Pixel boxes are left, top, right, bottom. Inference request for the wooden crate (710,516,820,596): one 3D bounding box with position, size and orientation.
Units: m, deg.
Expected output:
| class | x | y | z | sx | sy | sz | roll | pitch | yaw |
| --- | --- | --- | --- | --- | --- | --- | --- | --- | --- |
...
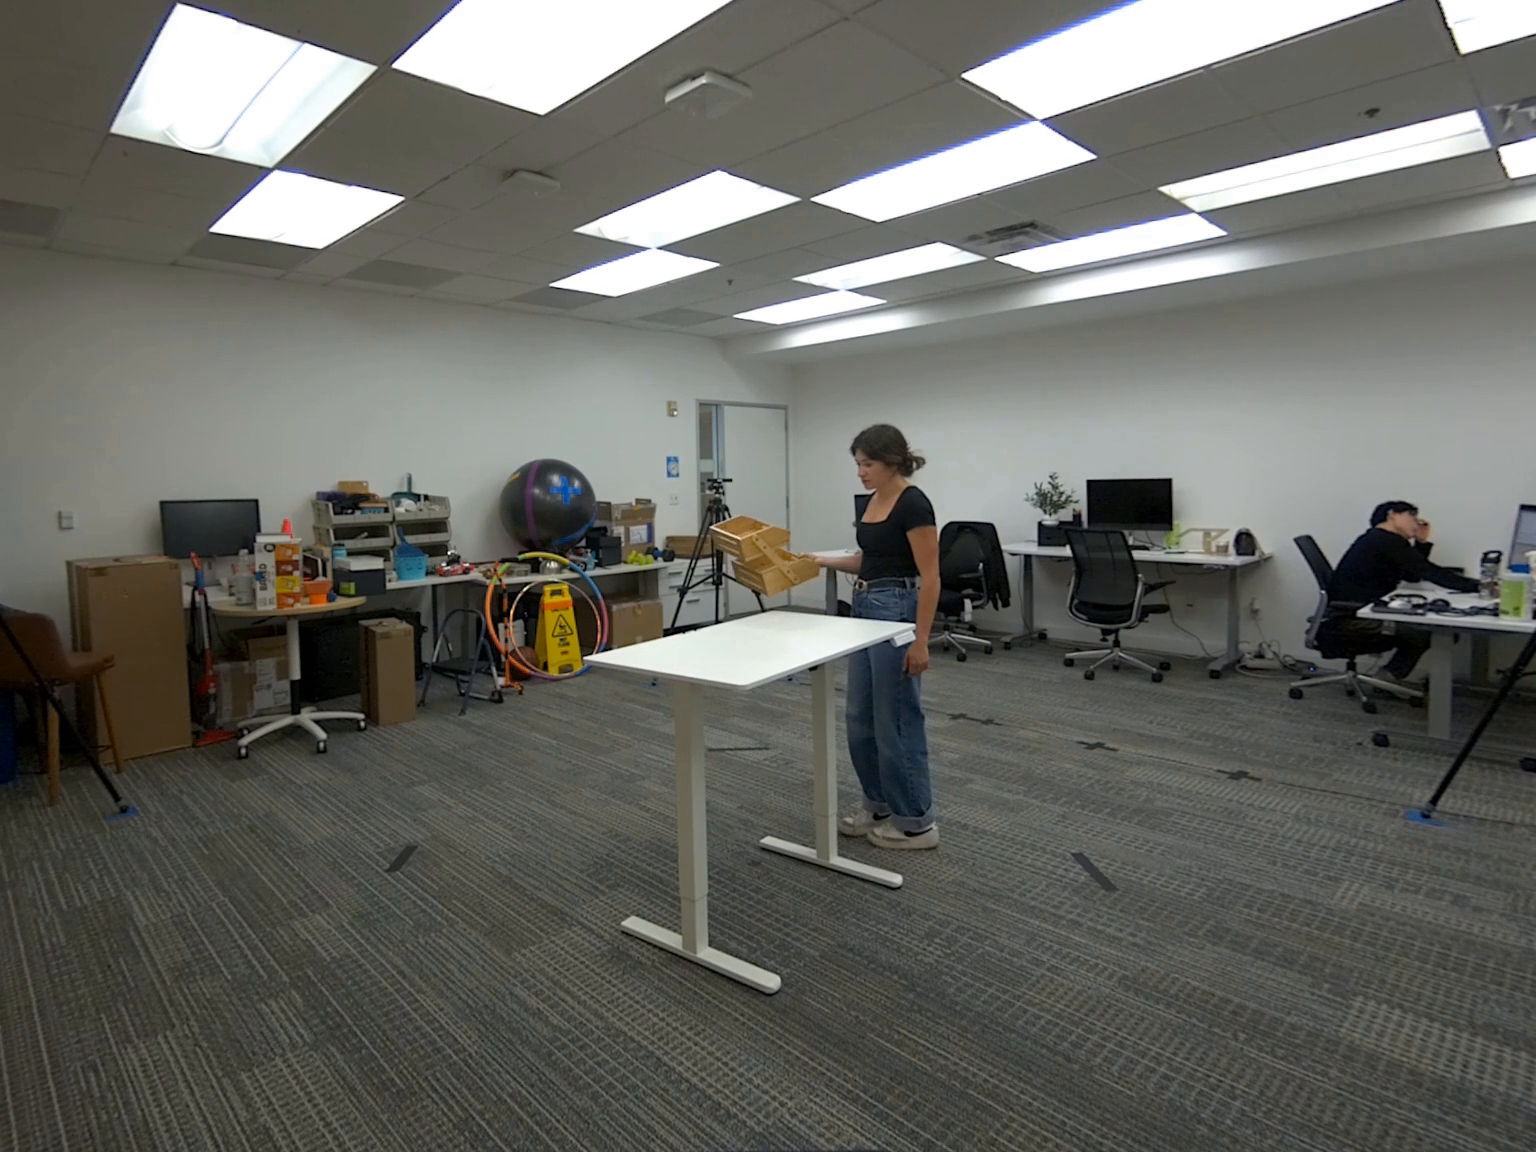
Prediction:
| class | x | y | z | sx | sy | sz | roll | pitch | yaw |
| --- | --- | --- | --- | --- | --- | --- | --- | --- | --- |
| wooden crate | -0.010 | -0.109 | 3.409 | 0.299 | 0.268 | 0.334 | -22 | 19 | -19 |
